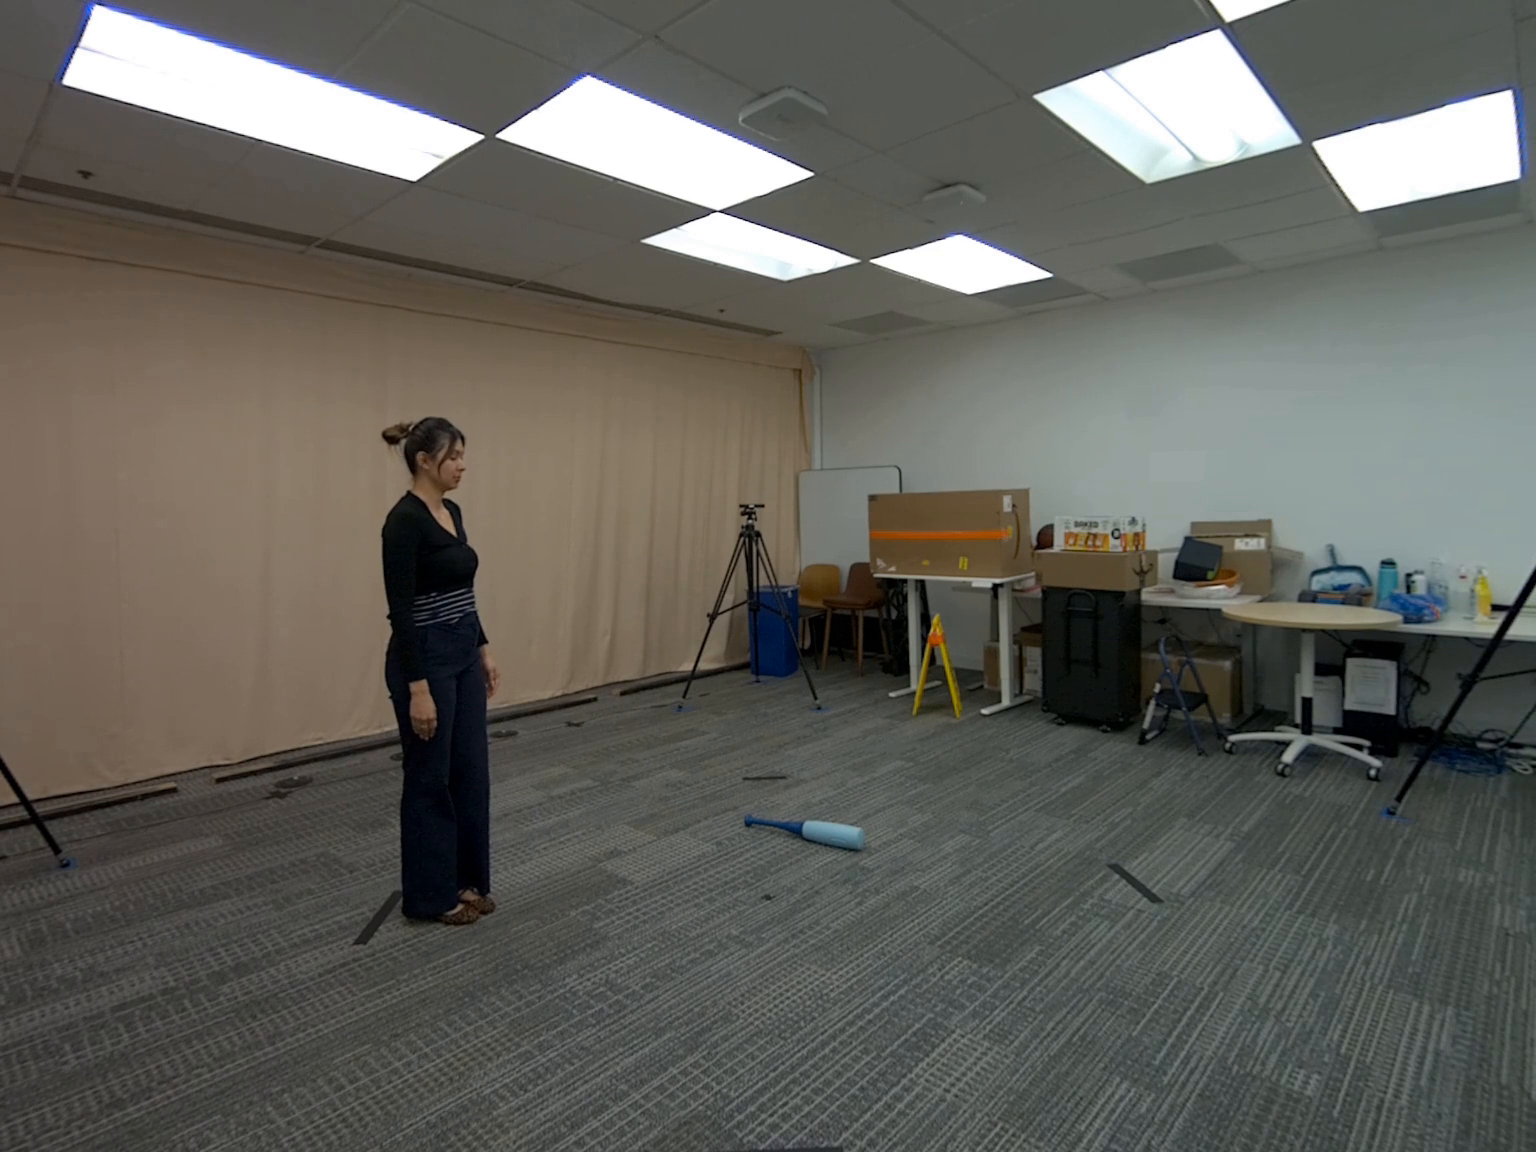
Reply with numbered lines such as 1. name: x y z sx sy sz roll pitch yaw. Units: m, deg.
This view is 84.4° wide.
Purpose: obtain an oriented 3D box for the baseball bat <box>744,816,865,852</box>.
1. baseball bat: 0.147 1.056 3.505 0.558 0.089 0.087 -2 3 31
